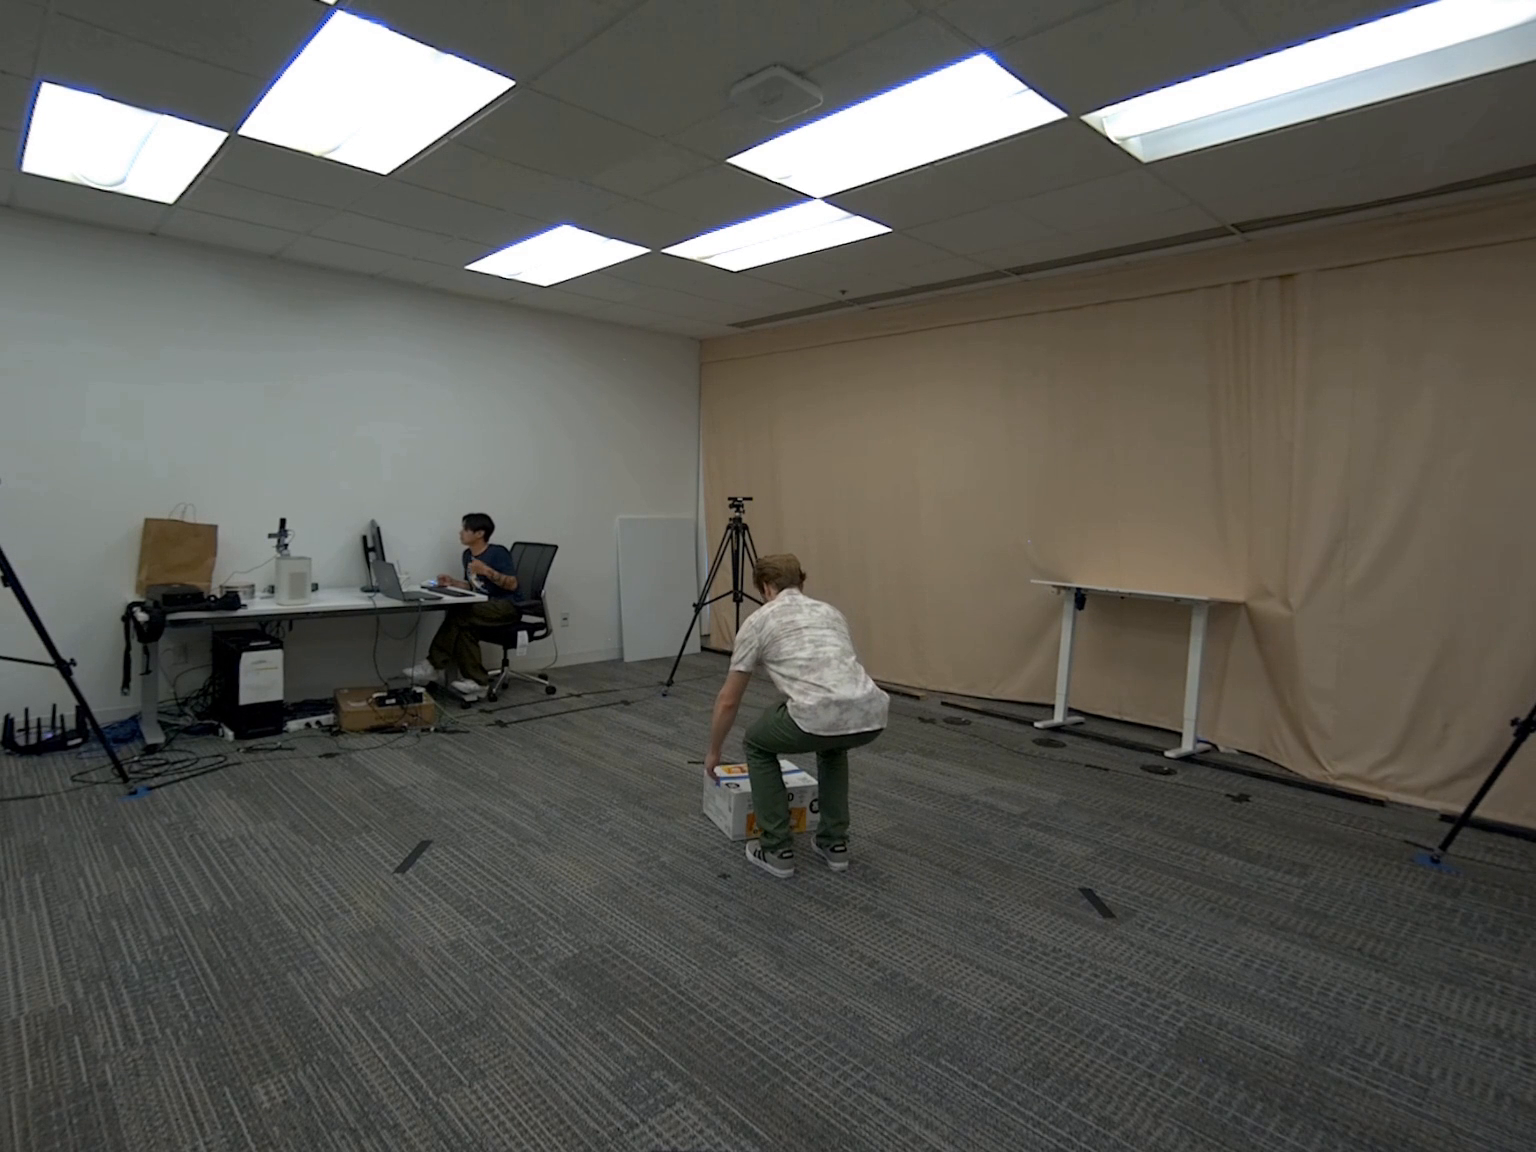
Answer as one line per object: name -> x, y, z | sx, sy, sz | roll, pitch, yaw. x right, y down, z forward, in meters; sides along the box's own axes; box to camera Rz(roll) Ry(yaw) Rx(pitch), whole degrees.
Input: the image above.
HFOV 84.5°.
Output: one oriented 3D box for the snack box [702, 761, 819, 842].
snack box -> -0.041, 0.962, 3.639 | 0.398, 0.205, 0.347 | 0, 5, -24
